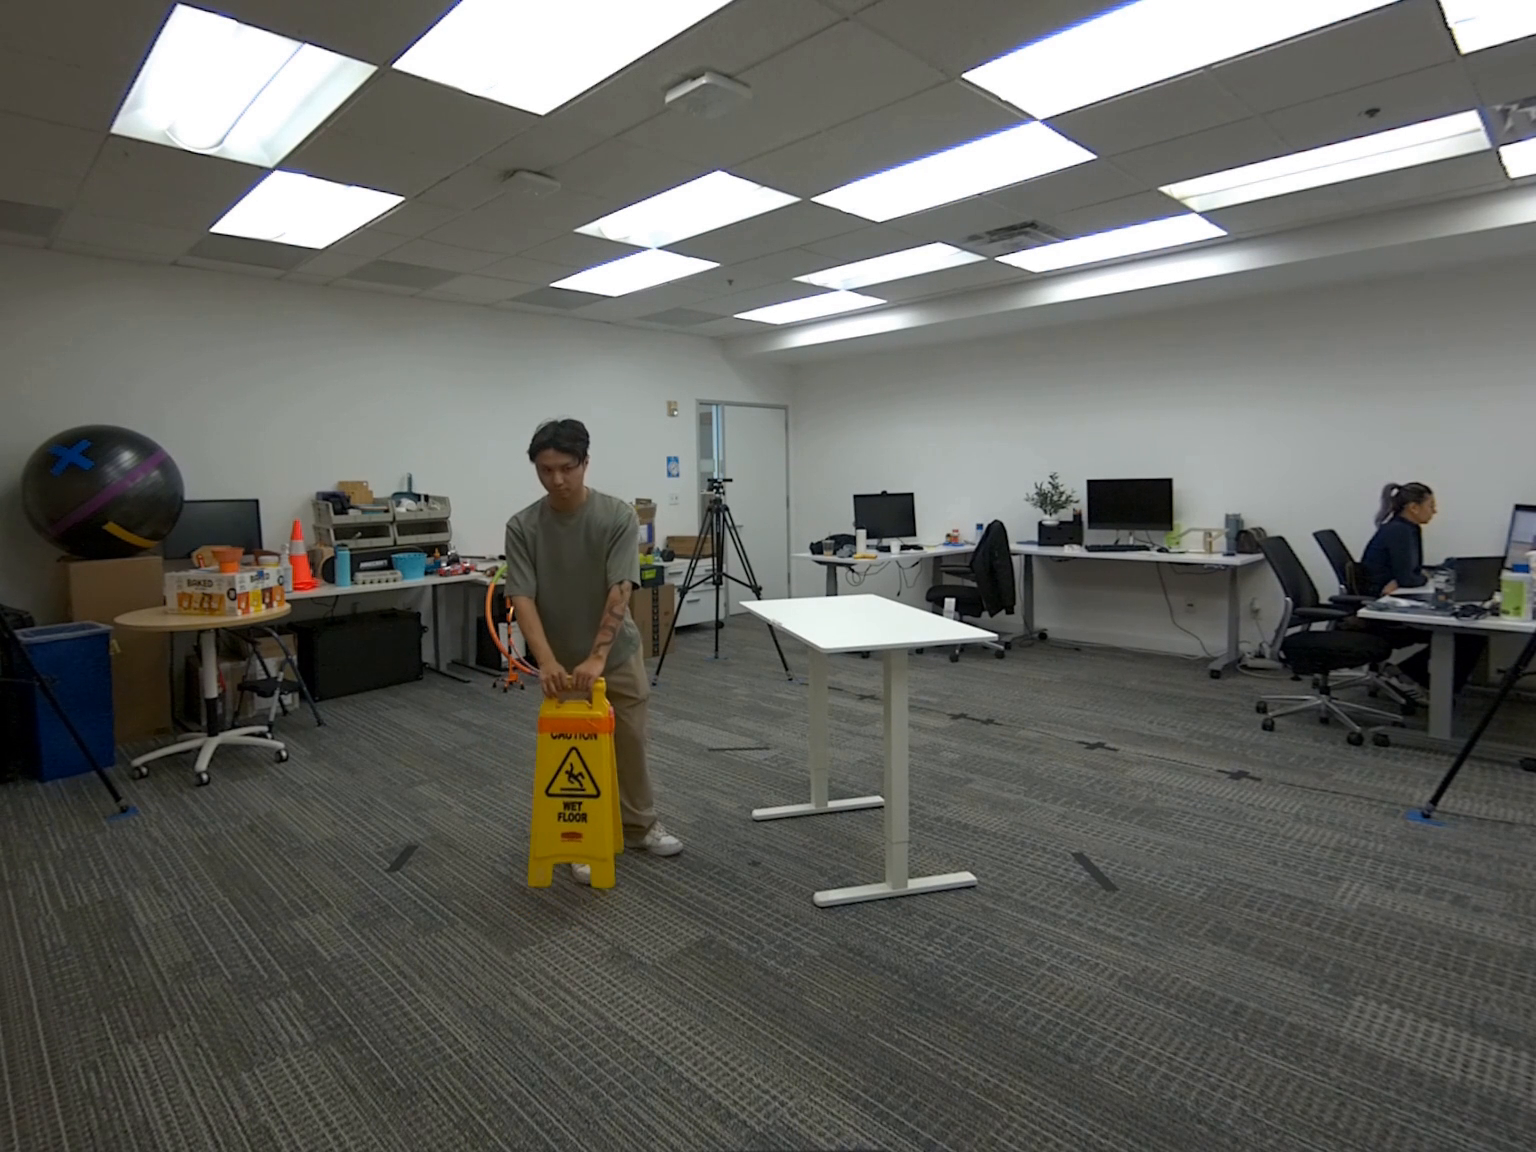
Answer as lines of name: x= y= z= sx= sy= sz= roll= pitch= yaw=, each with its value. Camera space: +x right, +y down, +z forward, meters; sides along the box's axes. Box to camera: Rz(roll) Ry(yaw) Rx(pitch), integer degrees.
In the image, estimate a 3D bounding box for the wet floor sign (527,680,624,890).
wet floor sign: x=-0.638 y=0.680 z=2.790 sx=0.282 sy=0.641 sz=0.292 roll=0 pitch=8 yaw=-1
